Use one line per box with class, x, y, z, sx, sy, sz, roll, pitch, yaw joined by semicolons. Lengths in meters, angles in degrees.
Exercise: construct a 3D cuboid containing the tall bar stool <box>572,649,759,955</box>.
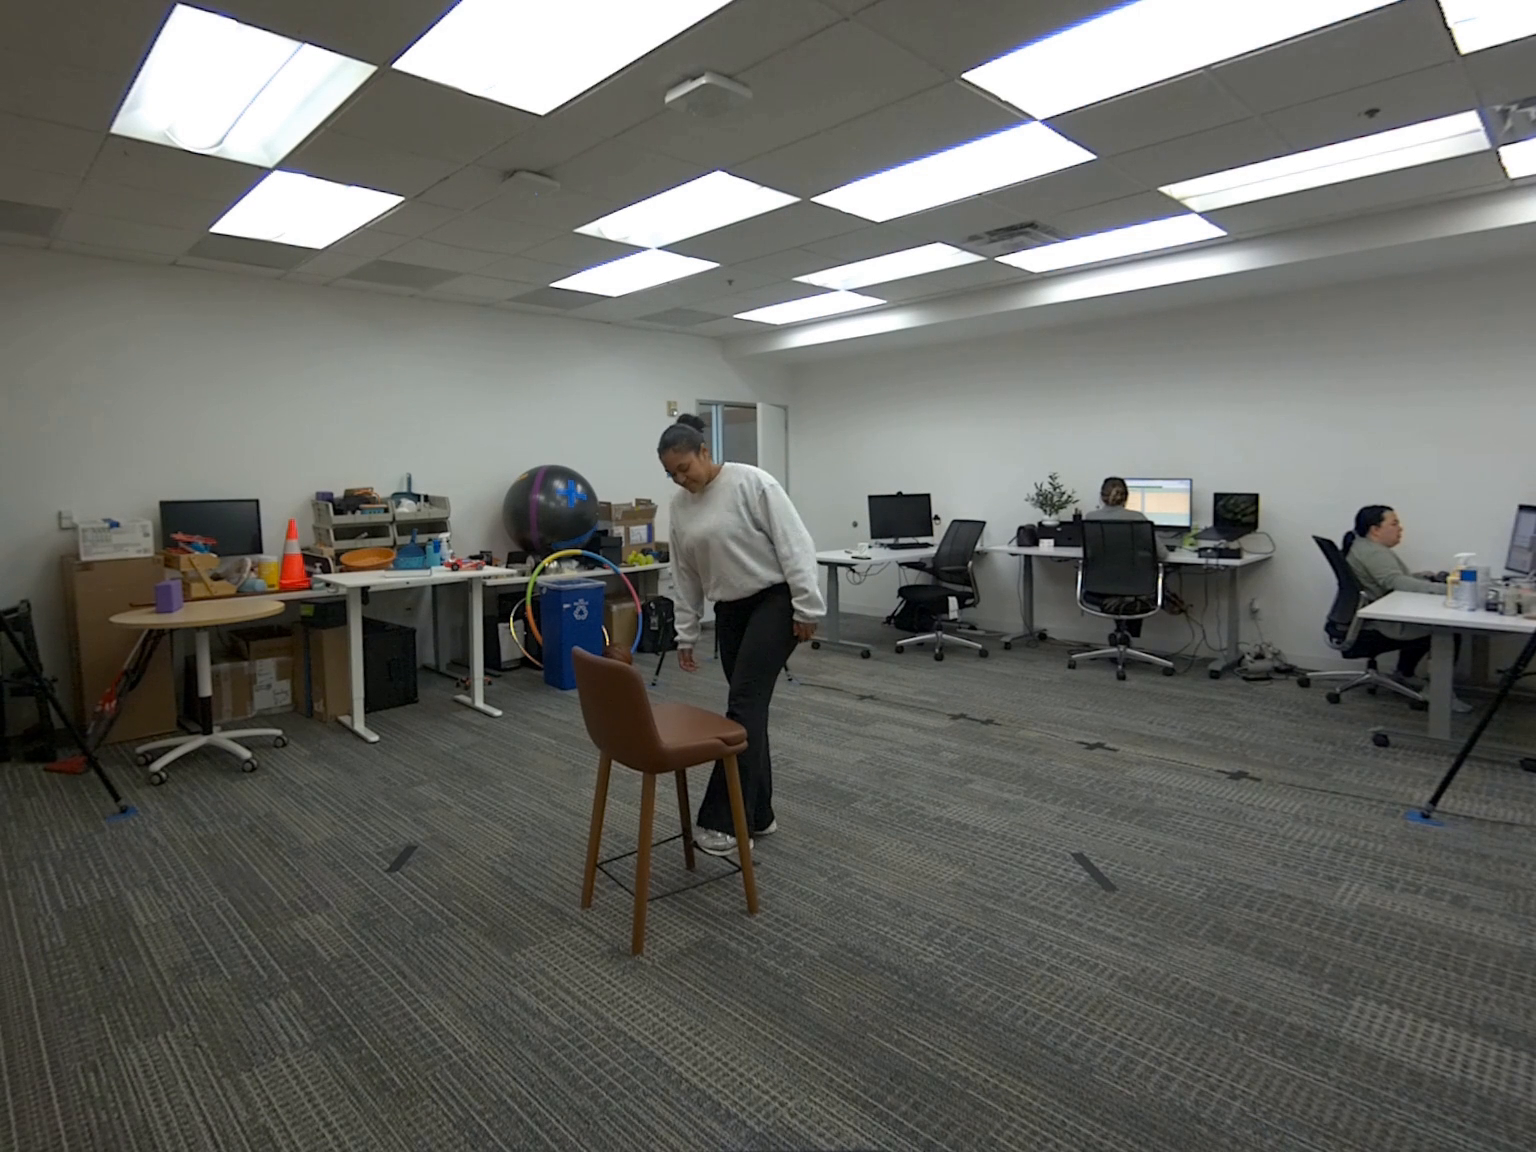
tall bar stool;-0.340;0.652;2.763;0.456;0.885;0.470;-6;7;-36
